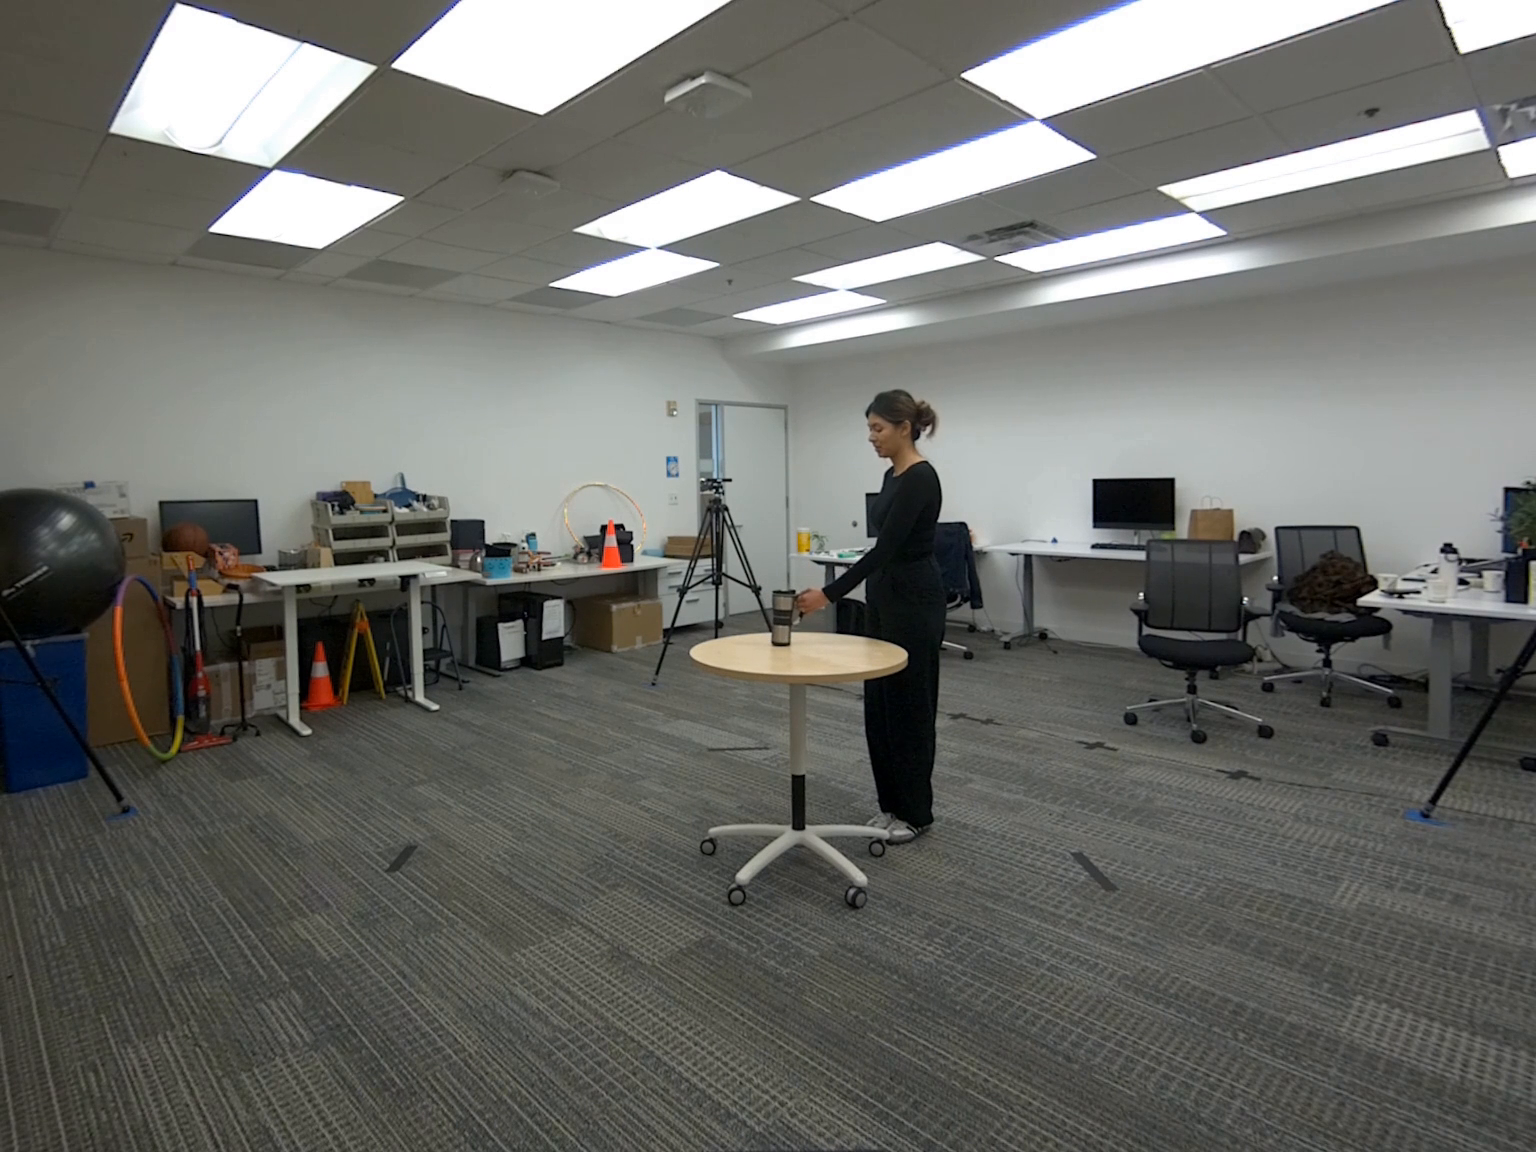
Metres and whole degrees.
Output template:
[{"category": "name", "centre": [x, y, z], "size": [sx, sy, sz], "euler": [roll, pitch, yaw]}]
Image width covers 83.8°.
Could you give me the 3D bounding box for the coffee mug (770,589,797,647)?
[{"category": "coffee mug", "centre": [0.074, 0.157, 3.132], "size": [0.124, 0.203, 0.086], "euler": [1, -2, 23]}]
